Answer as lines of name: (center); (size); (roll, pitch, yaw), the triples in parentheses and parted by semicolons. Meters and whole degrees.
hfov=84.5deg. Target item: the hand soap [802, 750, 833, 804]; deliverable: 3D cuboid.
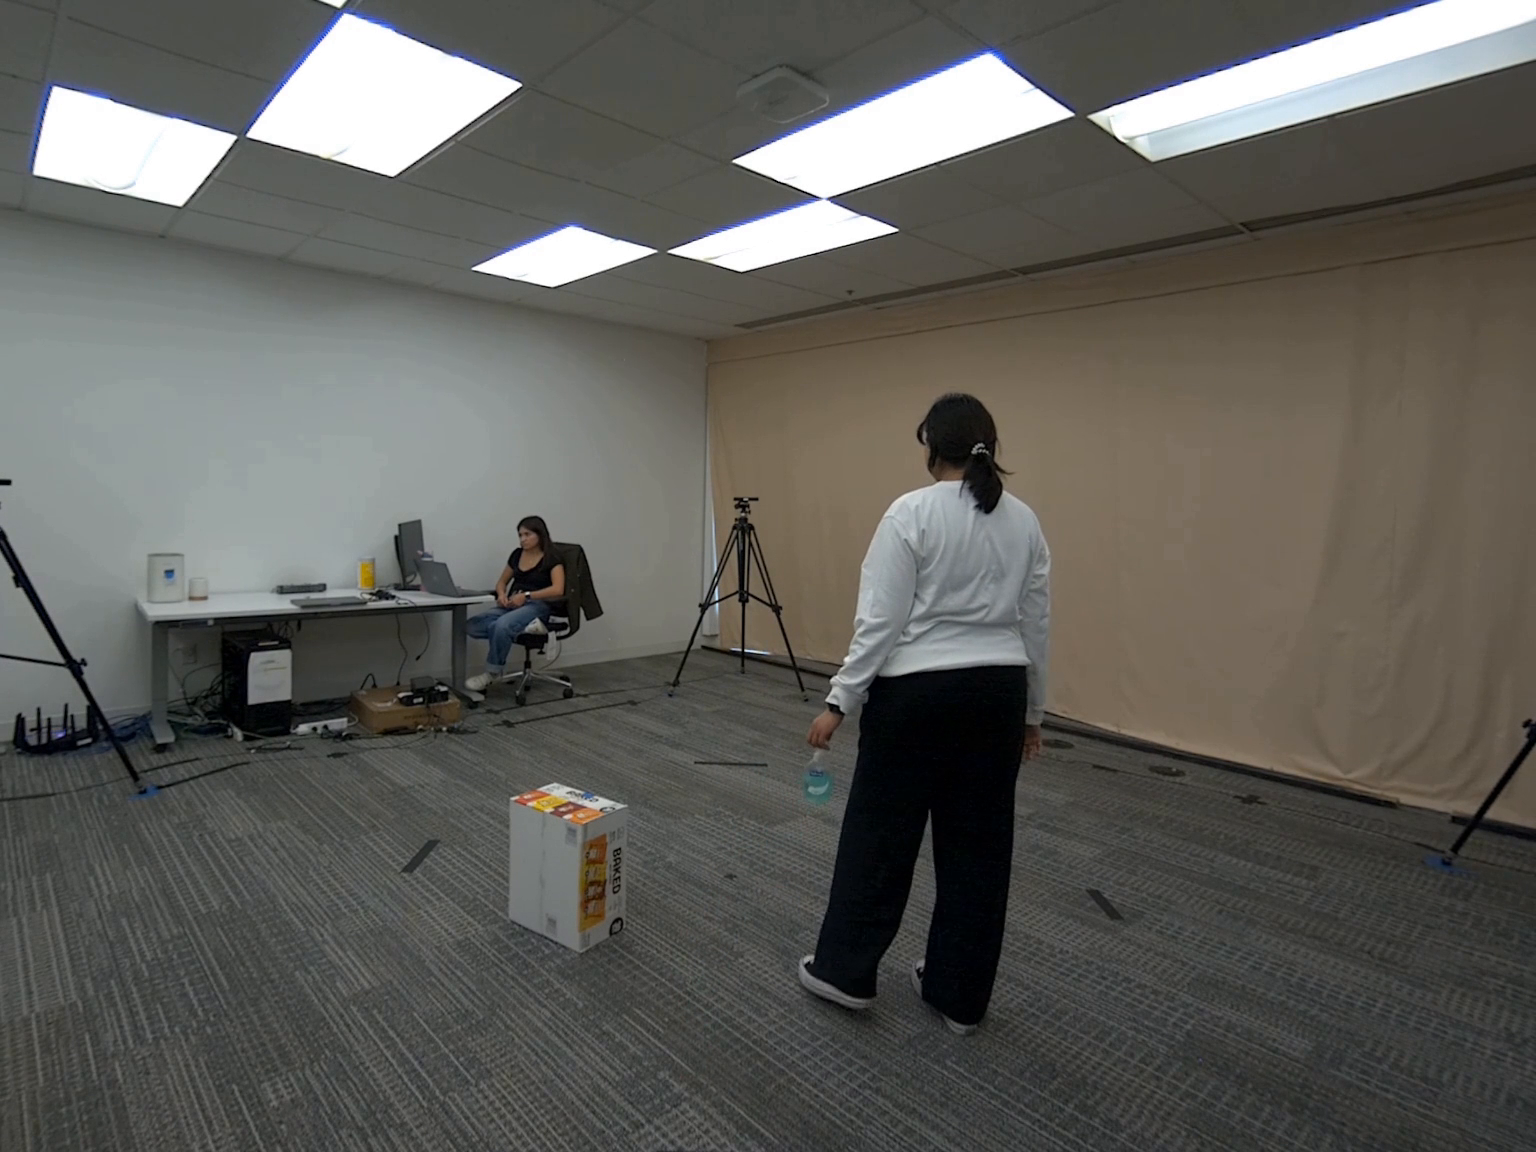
hand soap: (0.143, 0.539, 2.282); (0.085, 0.168, 0.043); (3, 0, 7)
